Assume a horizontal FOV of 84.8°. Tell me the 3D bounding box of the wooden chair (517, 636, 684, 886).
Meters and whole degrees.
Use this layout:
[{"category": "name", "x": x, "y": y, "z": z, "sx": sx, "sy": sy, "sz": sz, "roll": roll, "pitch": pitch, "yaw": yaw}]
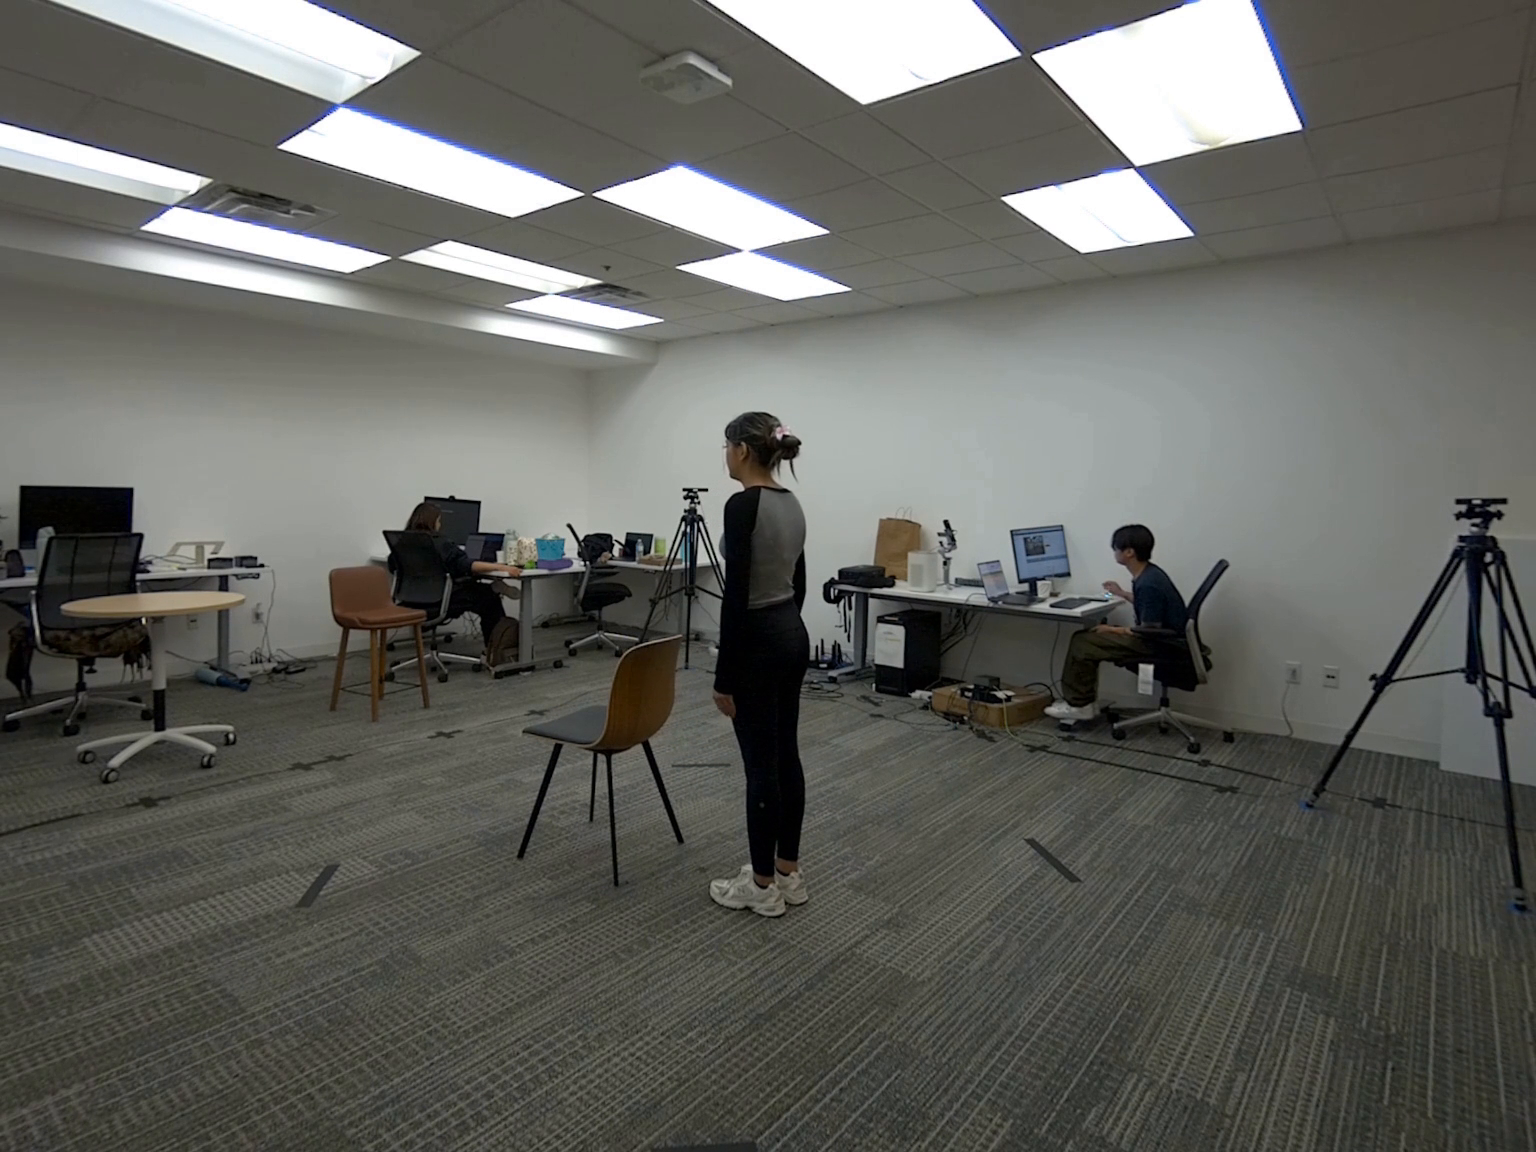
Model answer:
[{"category": "wooden chair", "x": -0.644, "y": 0.622, "z": 3.231, "sx": 0.539, "sy": 0.873, "sz": 0.466, "roll": 8, "pitch": 6, "yaw": 27}]
